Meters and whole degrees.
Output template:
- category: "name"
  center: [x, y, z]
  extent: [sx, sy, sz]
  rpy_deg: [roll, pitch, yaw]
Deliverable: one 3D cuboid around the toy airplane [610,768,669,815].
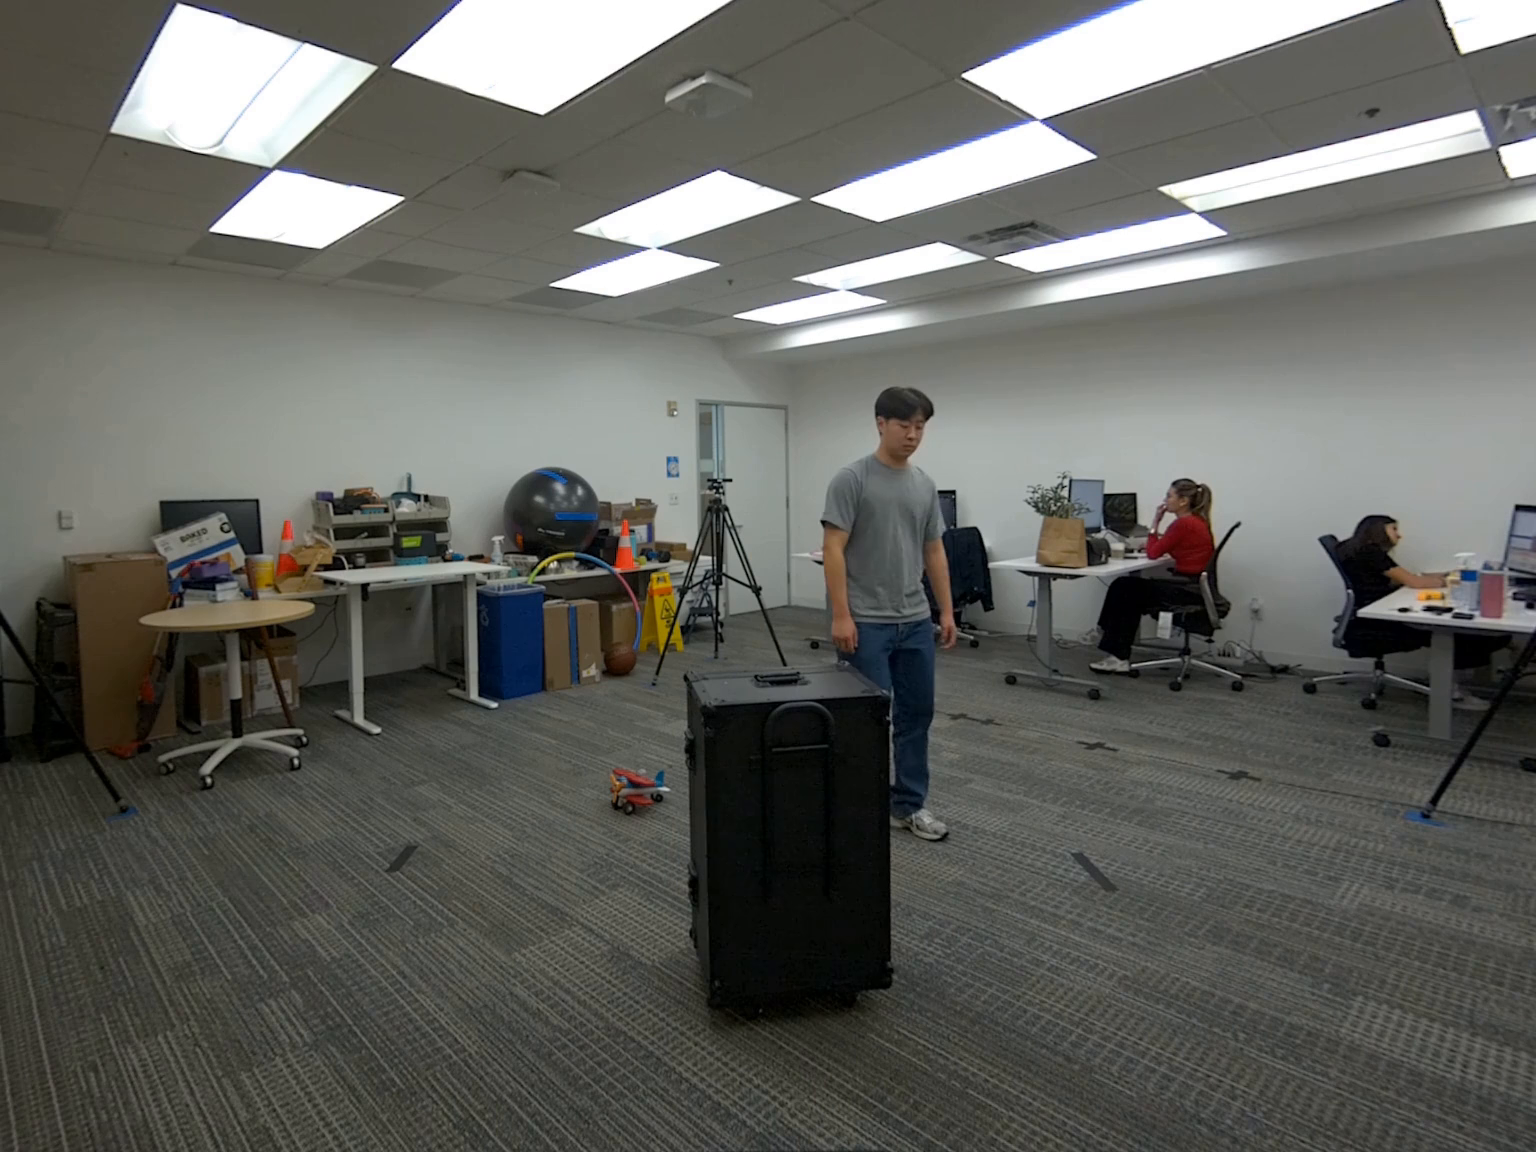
- category: "toy airplane"
  center: [-0.563, 0.917, 3.689]
  extent: [0.256, 0.155, 0.256]
  rpy_deg: [2, 7, 19]
